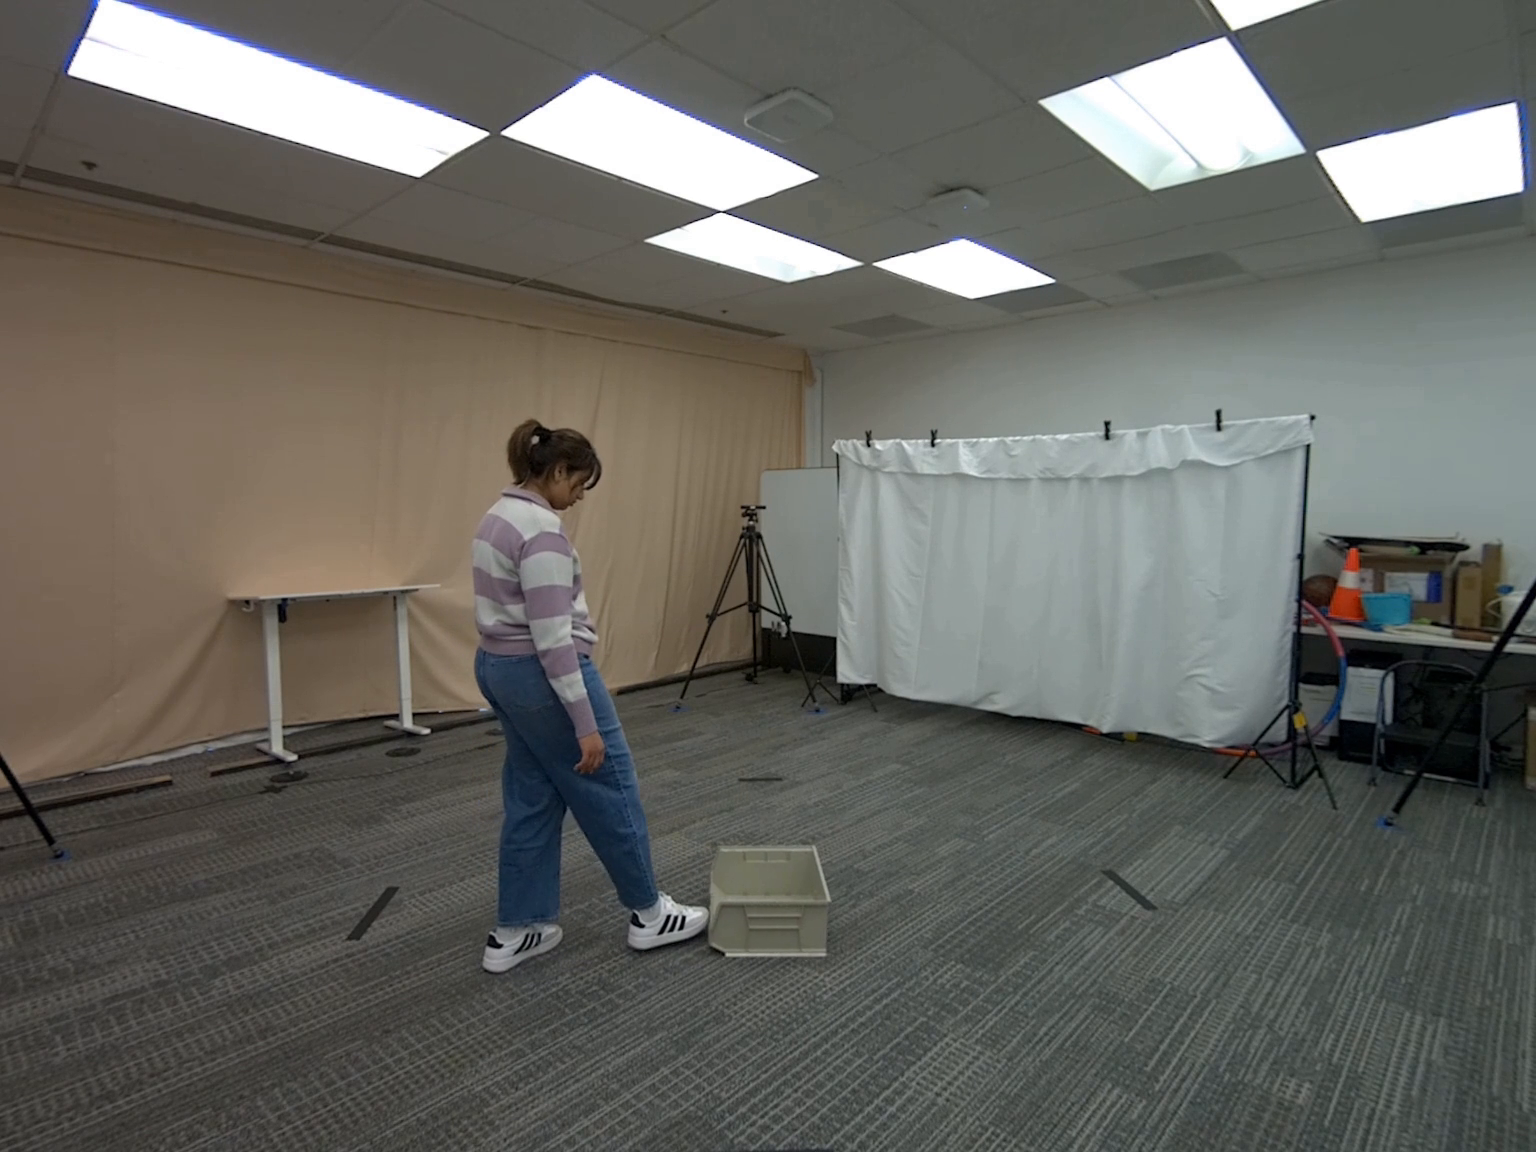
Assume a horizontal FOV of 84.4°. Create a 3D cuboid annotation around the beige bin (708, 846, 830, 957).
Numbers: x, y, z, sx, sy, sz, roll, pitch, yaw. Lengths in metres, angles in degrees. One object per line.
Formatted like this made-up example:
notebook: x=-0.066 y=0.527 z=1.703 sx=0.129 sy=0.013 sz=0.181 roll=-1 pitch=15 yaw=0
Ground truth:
beige bin: x=-0.013 y=1.071 z=2.795 sx=0.377 sy=0.188 sz=0.424 roll=0 pitch=4 yaw=-3
